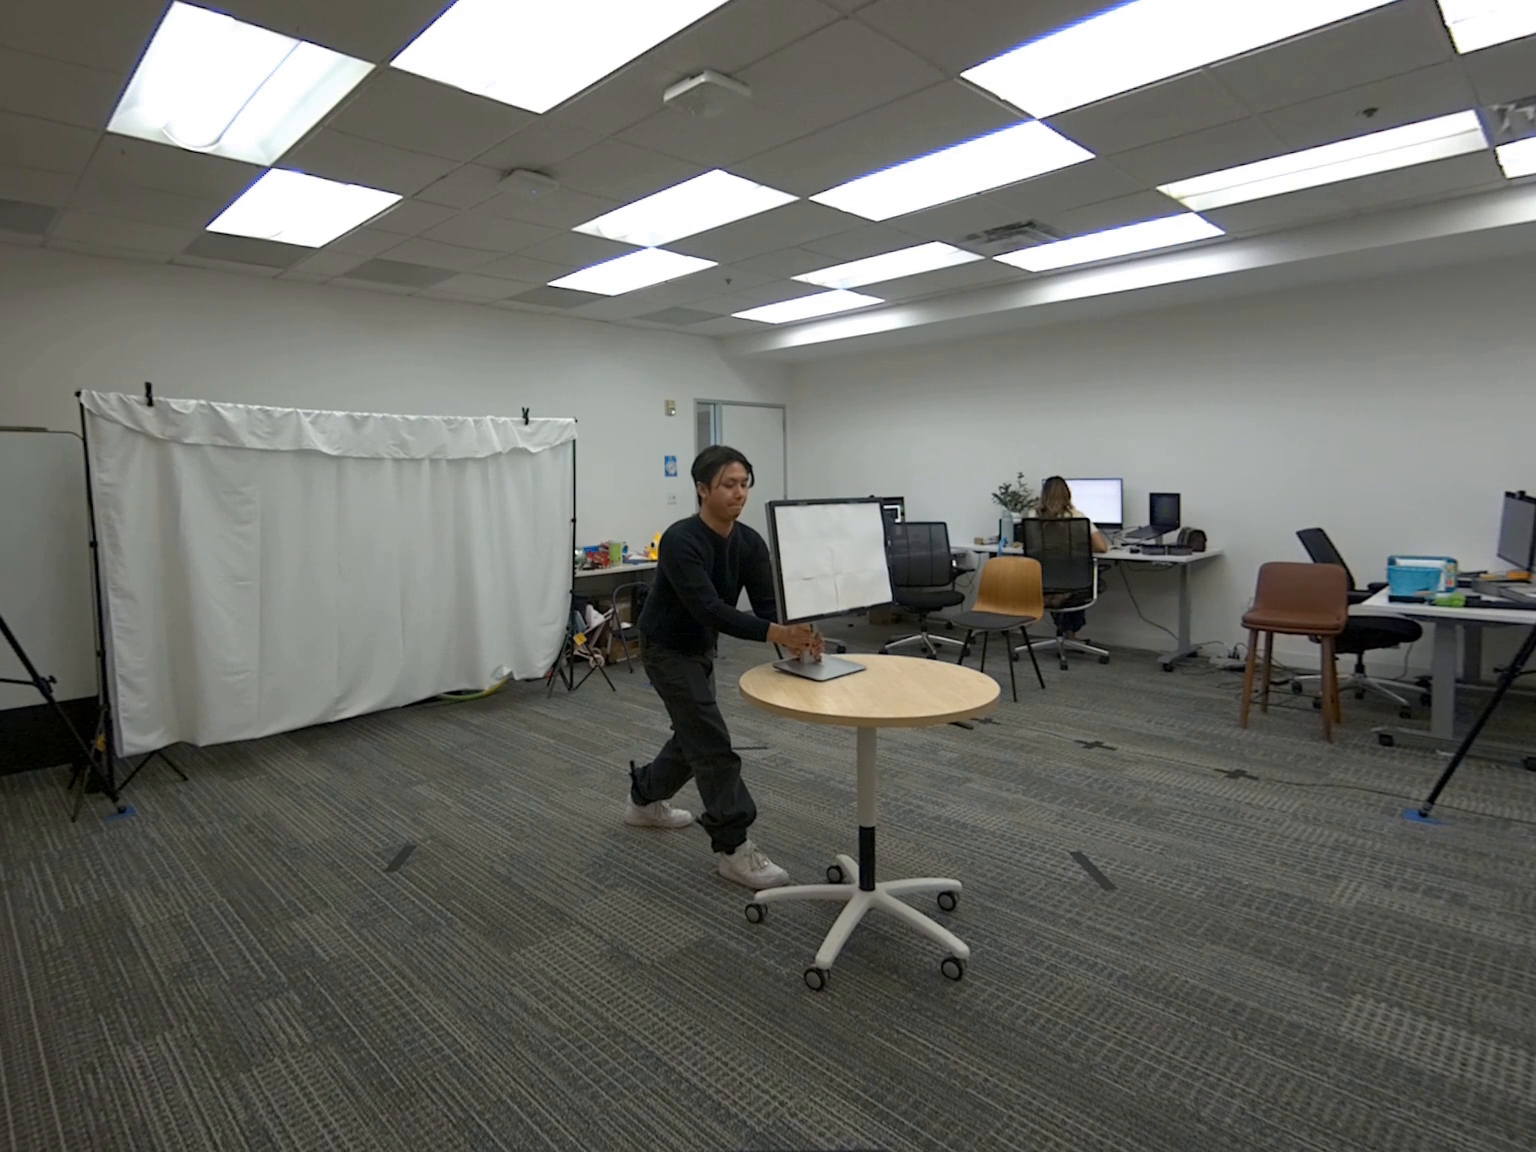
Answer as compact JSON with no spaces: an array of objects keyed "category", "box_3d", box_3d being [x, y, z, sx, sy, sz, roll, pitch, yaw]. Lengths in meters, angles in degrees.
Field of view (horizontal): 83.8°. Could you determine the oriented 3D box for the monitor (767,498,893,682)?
[{"category":"monitor","box_3d":[0.182,0.030,2.679,0.193,0.520,0.525,7,9,42]}]
